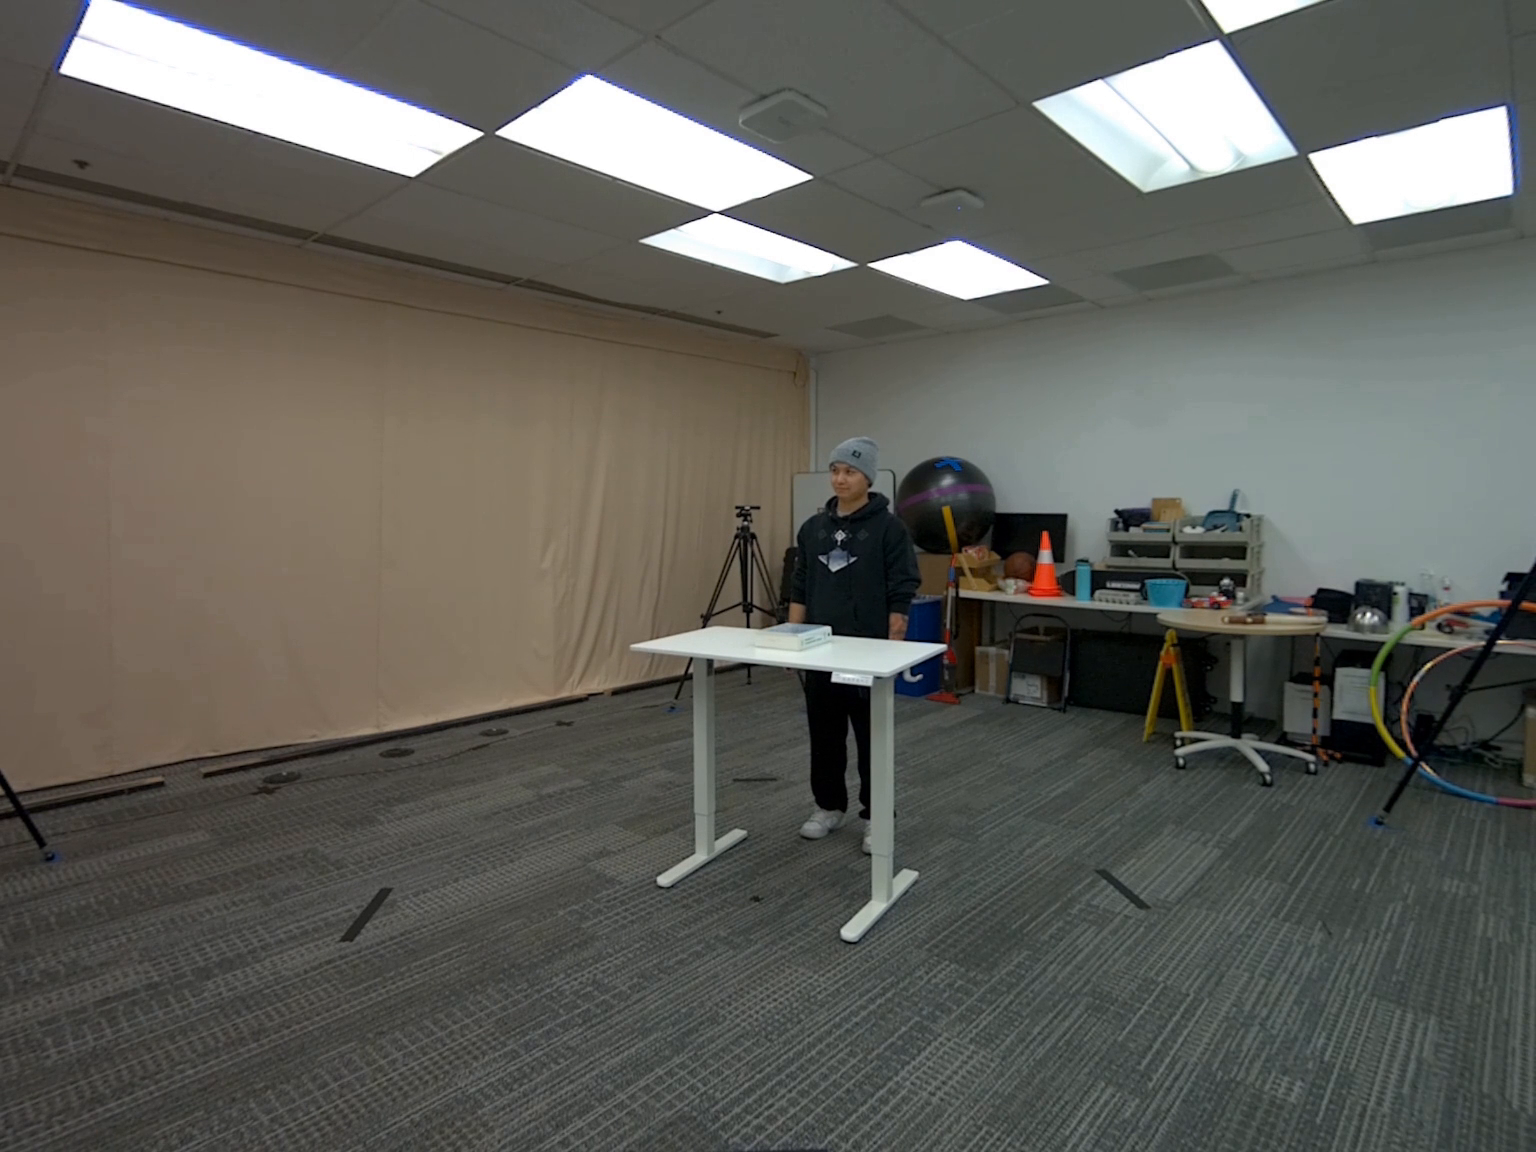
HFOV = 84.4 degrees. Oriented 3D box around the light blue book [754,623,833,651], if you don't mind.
[{"bbox_3d":[0.094,0.225,3.100,0.197,0.059,0.254,3,6,31],"label":"light blue book"}]
